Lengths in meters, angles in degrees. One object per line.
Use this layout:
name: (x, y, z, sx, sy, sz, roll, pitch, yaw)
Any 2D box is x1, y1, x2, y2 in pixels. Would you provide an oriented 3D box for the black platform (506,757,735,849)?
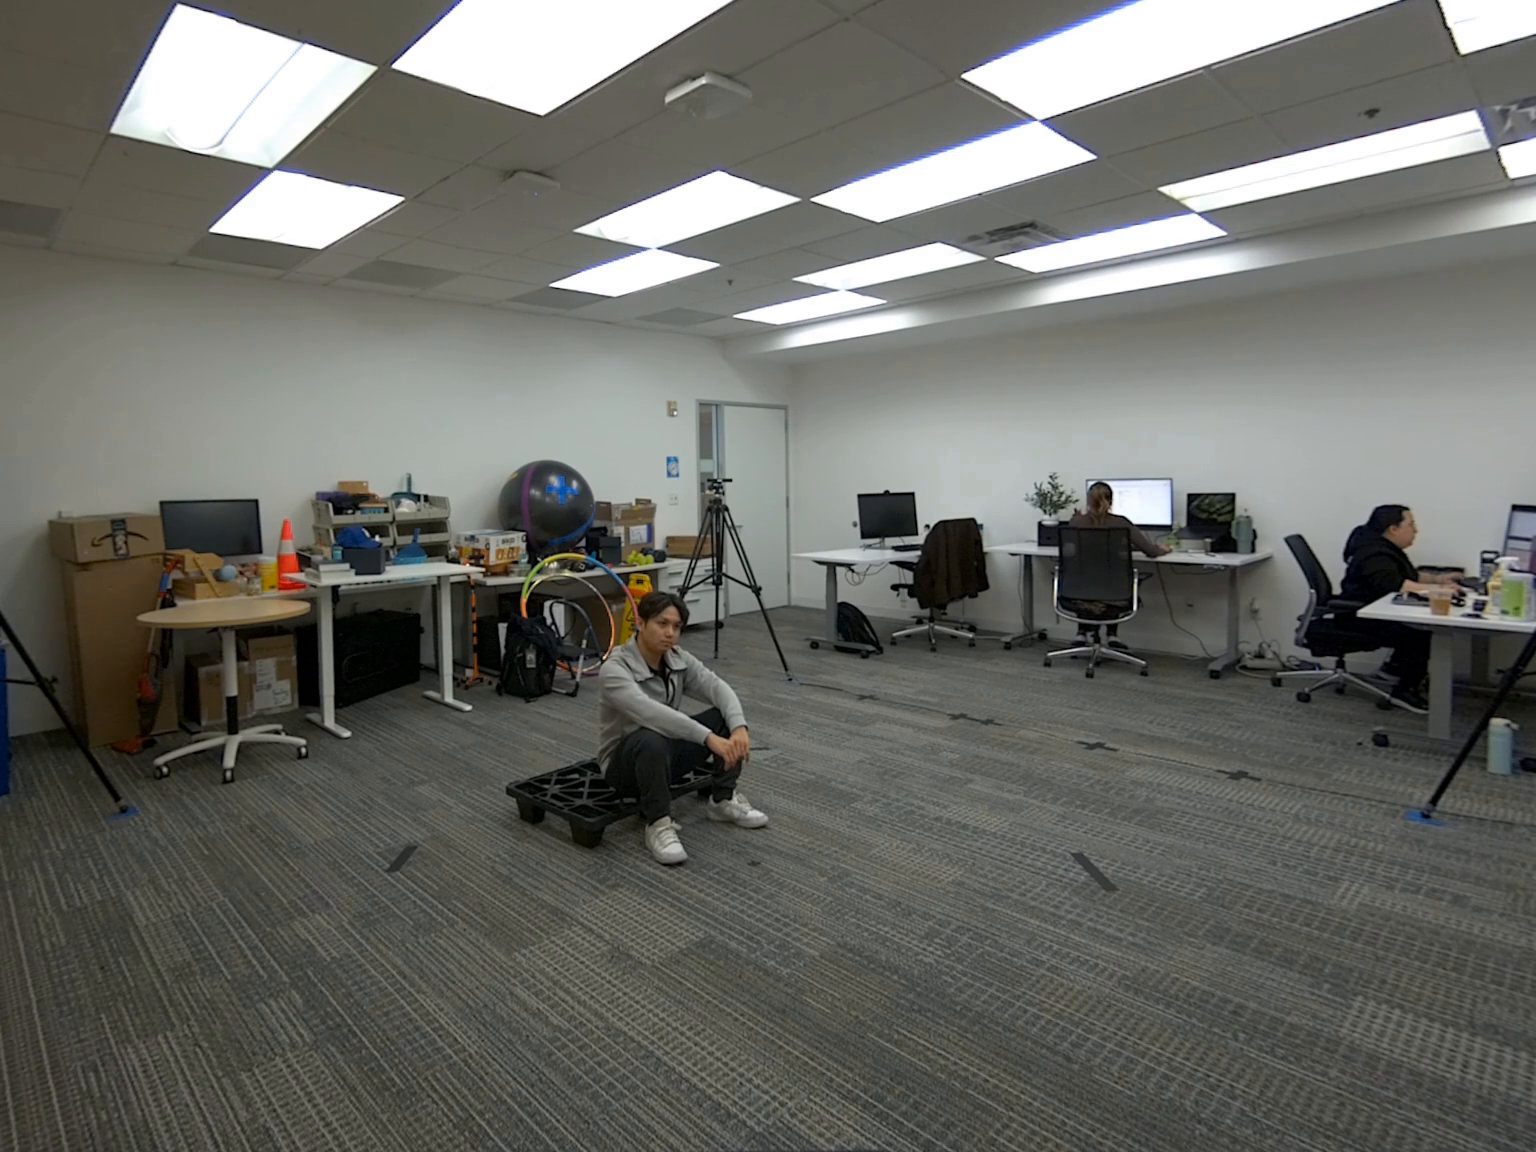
black platform: (-0.611, 0.925, 3.667, 0.624, 0.142, 0.785, 5, 9, 42)
